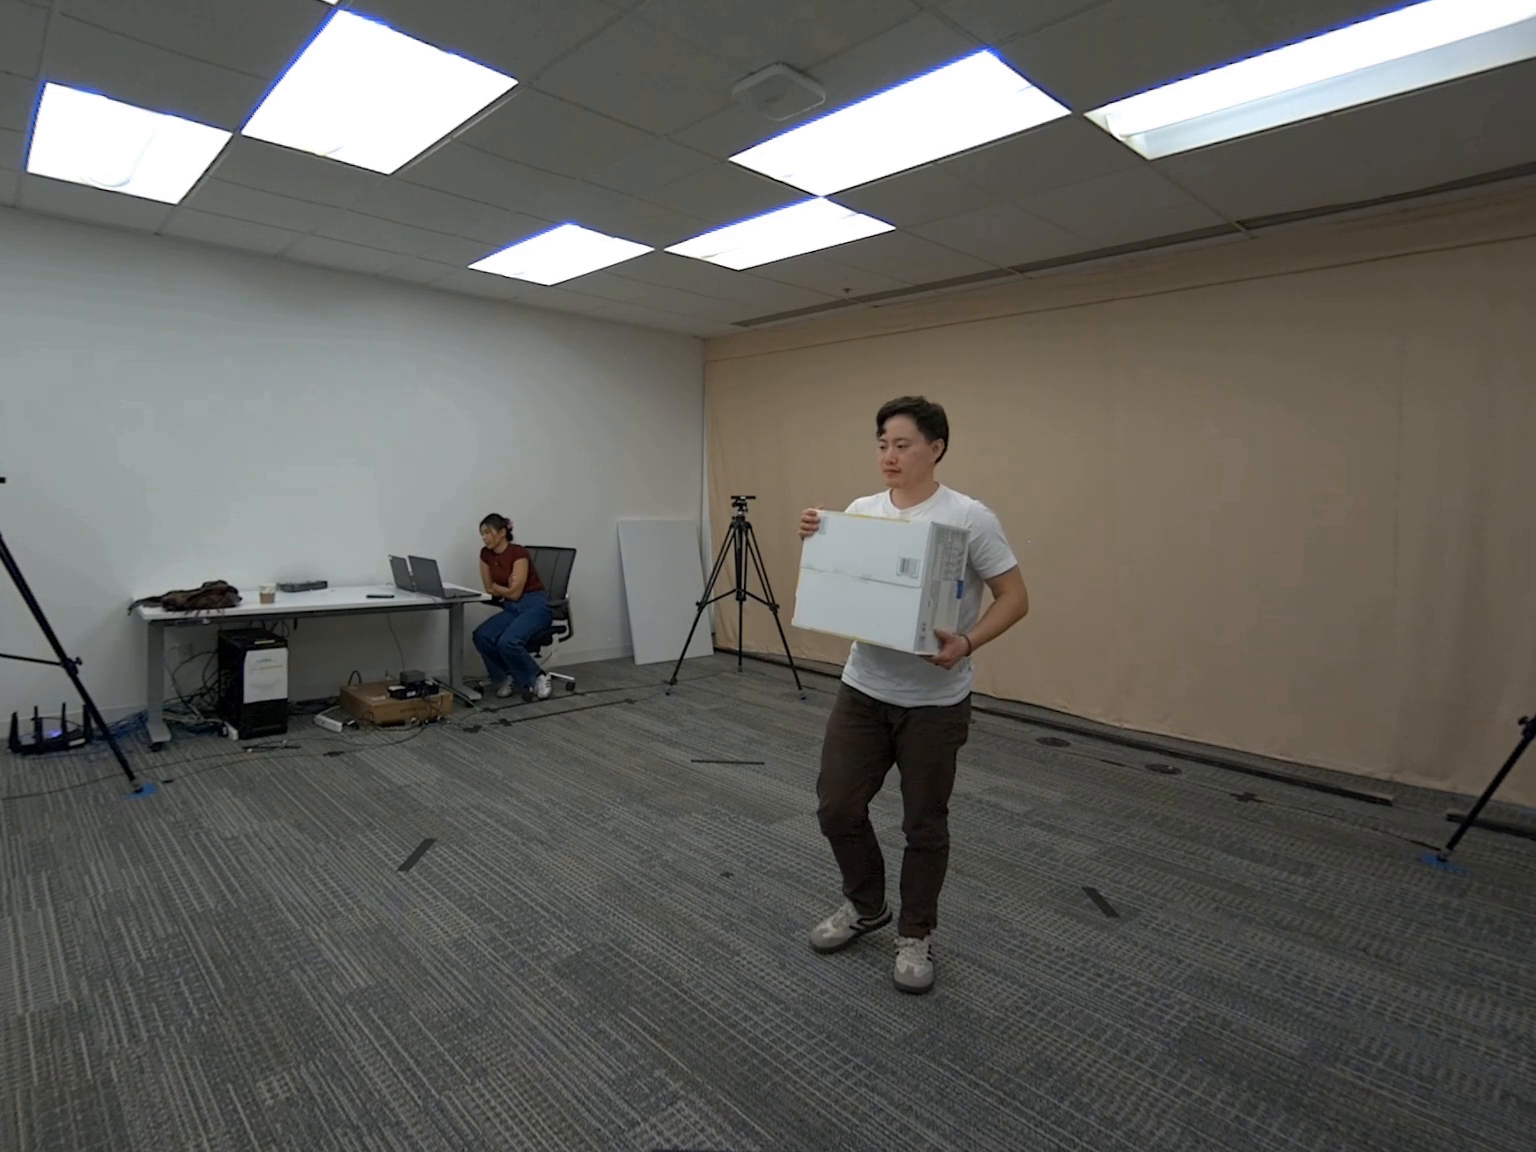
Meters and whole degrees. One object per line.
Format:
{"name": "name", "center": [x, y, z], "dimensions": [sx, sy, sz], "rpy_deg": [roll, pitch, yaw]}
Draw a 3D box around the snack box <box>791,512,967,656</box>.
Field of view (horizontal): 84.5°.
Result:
{"name": "snack box", "center": [0.293, 0.011, 2.309], "dimensions": [0.416, 0.340, 0.200], "rpy_deg": [9, 1, 42]}
